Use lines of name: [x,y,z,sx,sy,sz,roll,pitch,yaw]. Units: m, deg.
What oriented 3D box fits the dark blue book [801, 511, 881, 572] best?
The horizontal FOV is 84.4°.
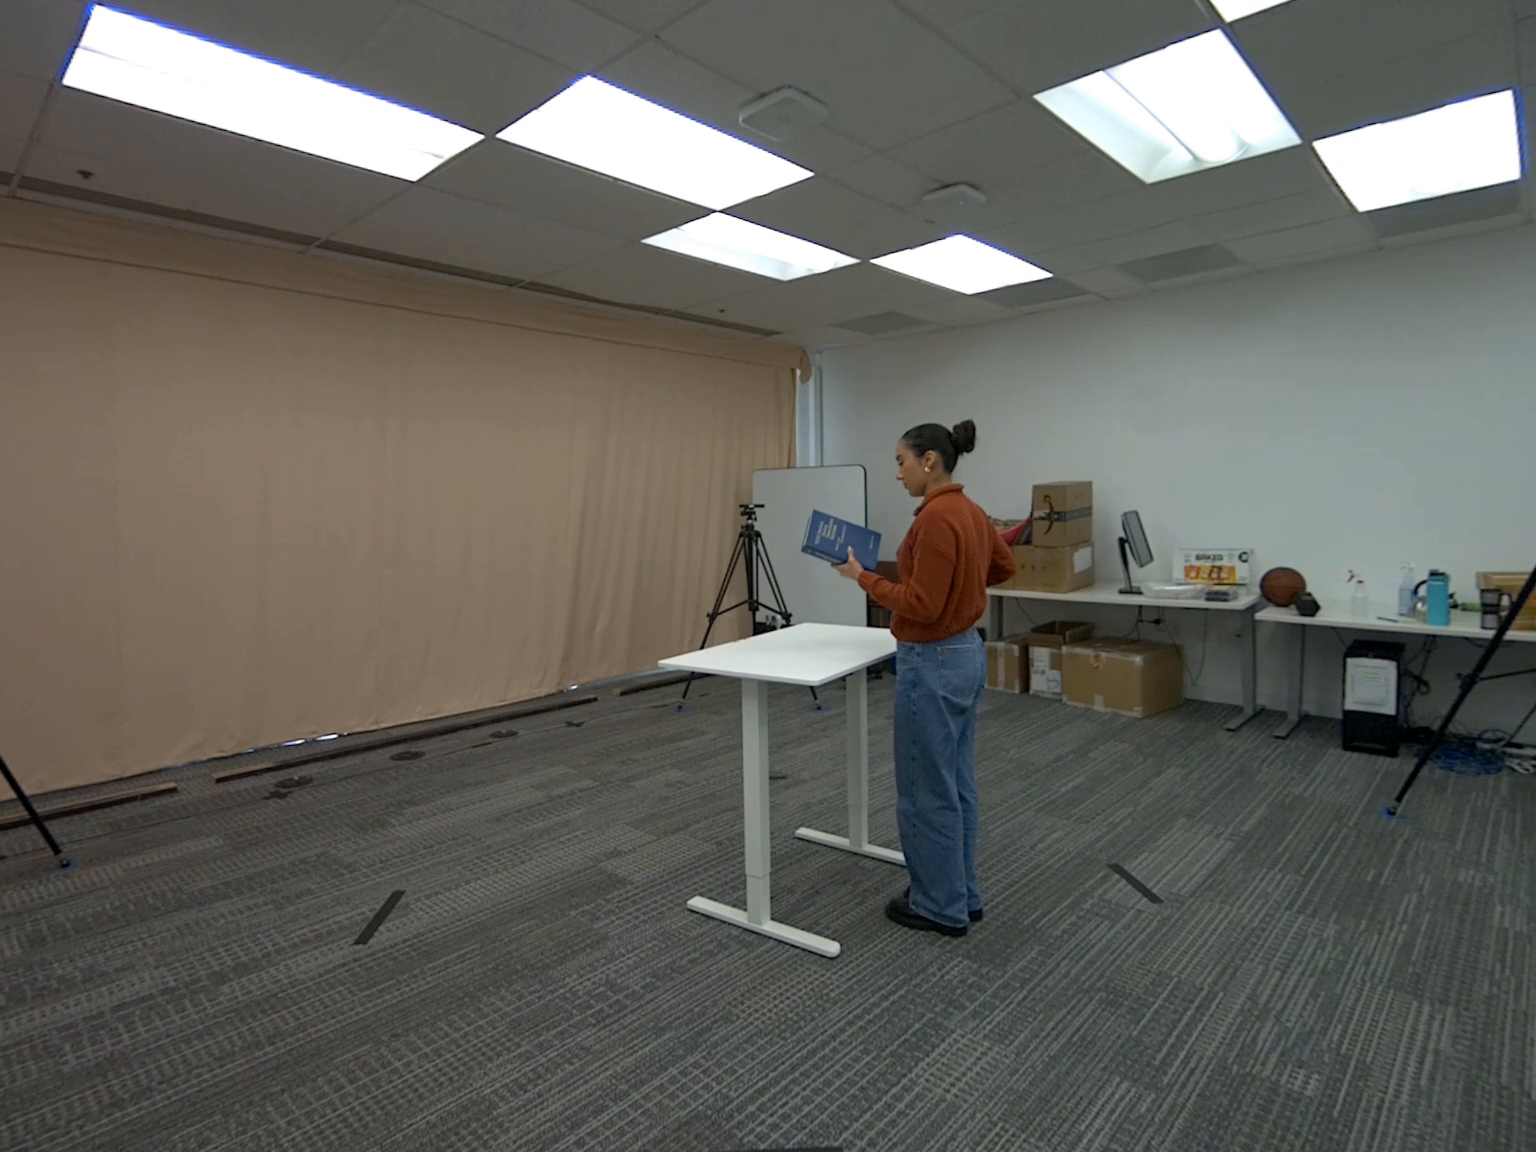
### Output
dark blue book: [0.250,-0.105,2.769,0.245,0.164,0.045,19,-38,-1]
